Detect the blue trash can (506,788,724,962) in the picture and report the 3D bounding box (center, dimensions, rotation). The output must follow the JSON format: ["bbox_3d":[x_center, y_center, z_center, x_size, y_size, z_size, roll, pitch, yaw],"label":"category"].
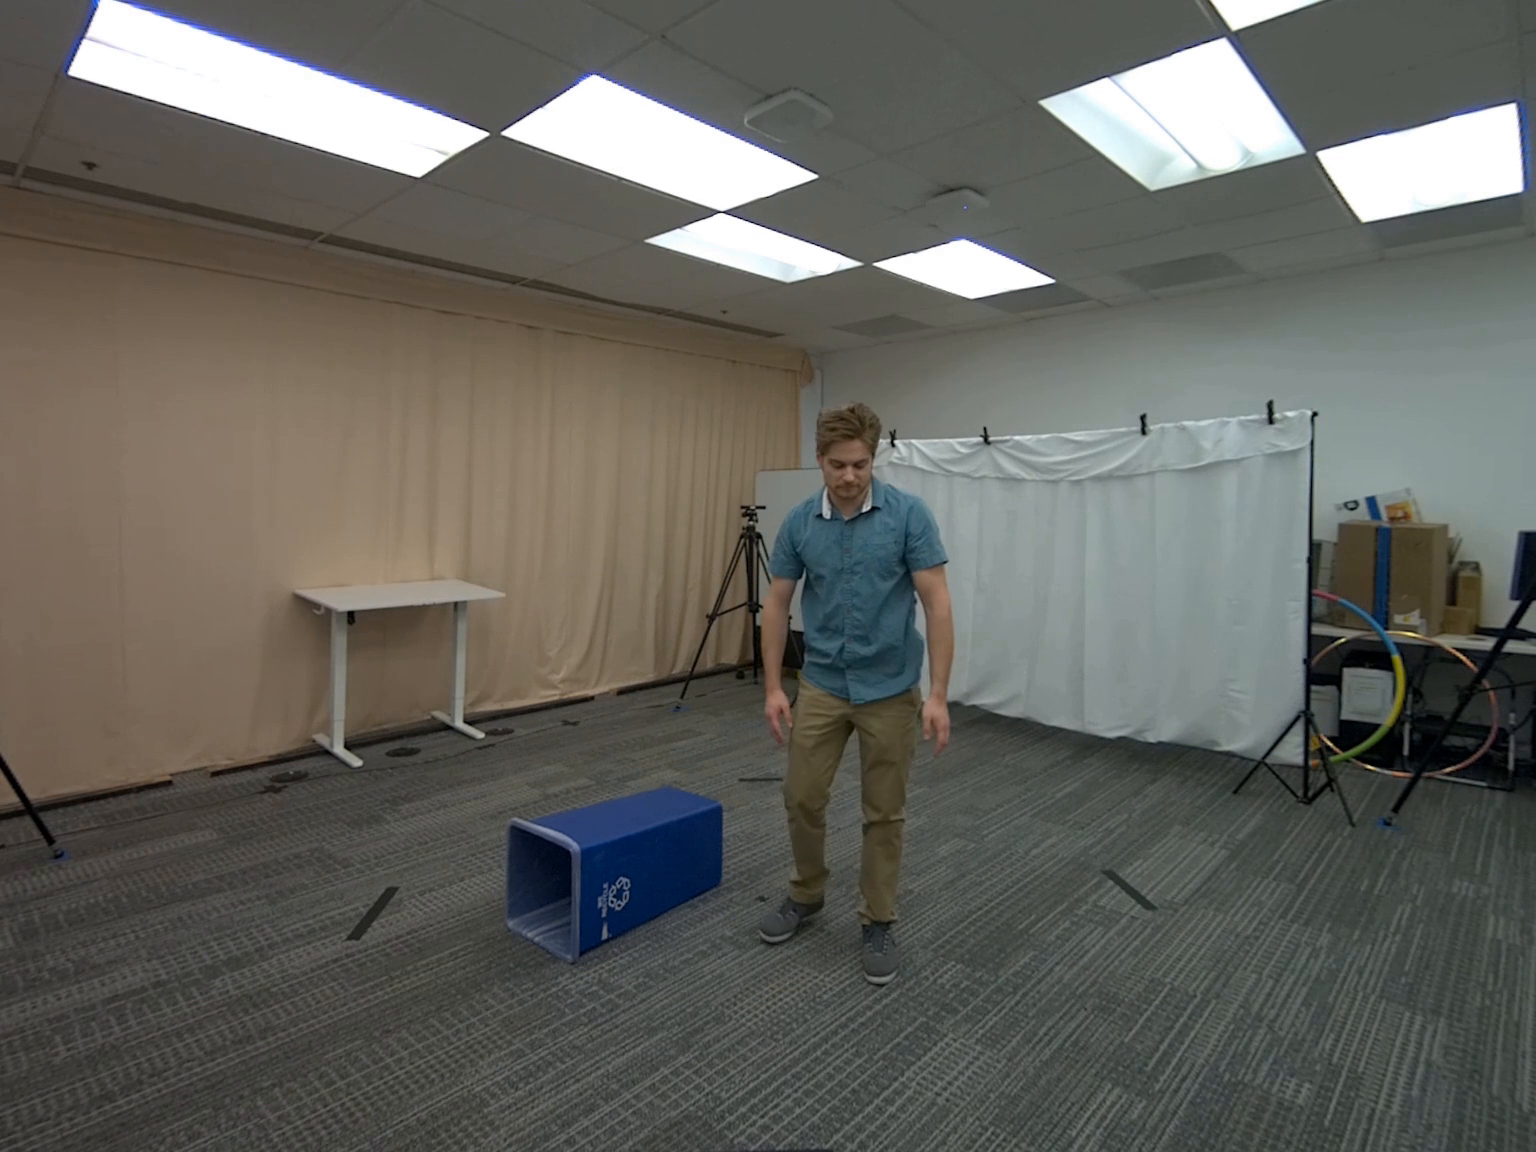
[{"bbox_3d":[-0.510,0.991,2.937,0.386,0.378,0.691,2,2,40],"label":"blue trash can"}]
